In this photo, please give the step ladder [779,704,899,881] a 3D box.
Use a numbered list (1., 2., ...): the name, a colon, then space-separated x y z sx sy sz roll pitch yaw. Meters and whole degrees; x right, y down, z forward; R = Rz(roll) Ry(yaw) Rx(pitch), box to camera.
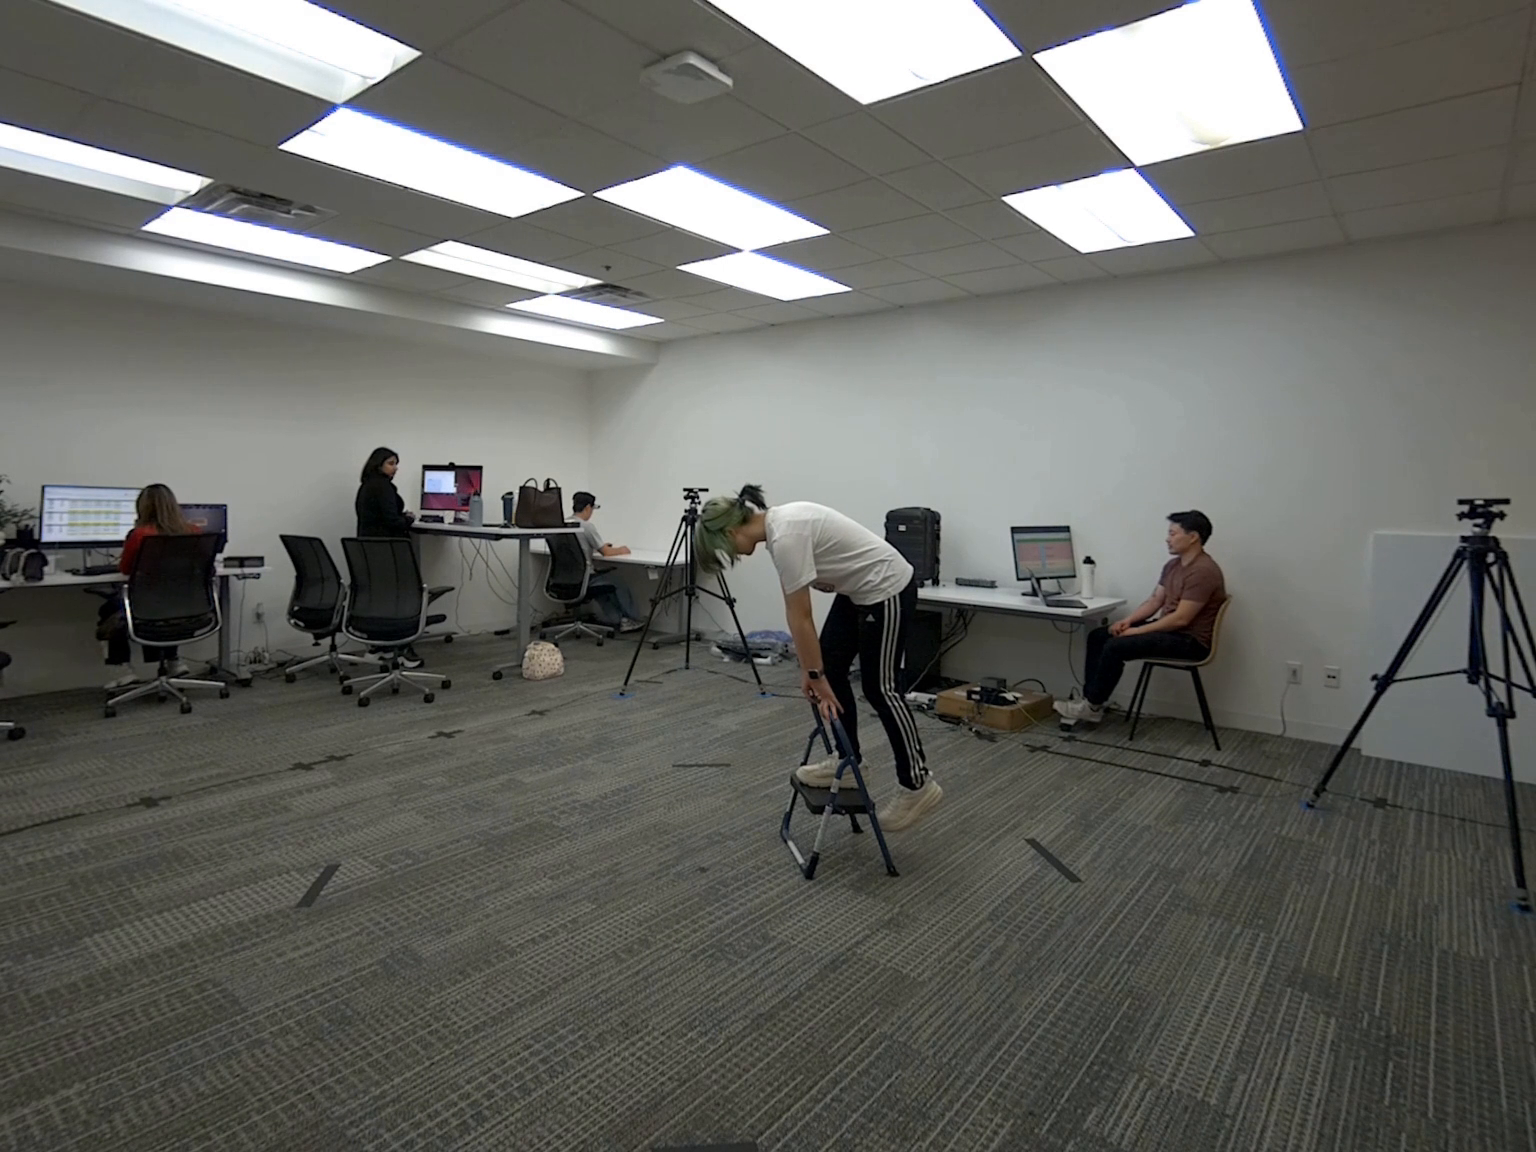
1. step ladder: 0.259 0.767 3.253 0.345 0.604 0.437 1 4 -12
